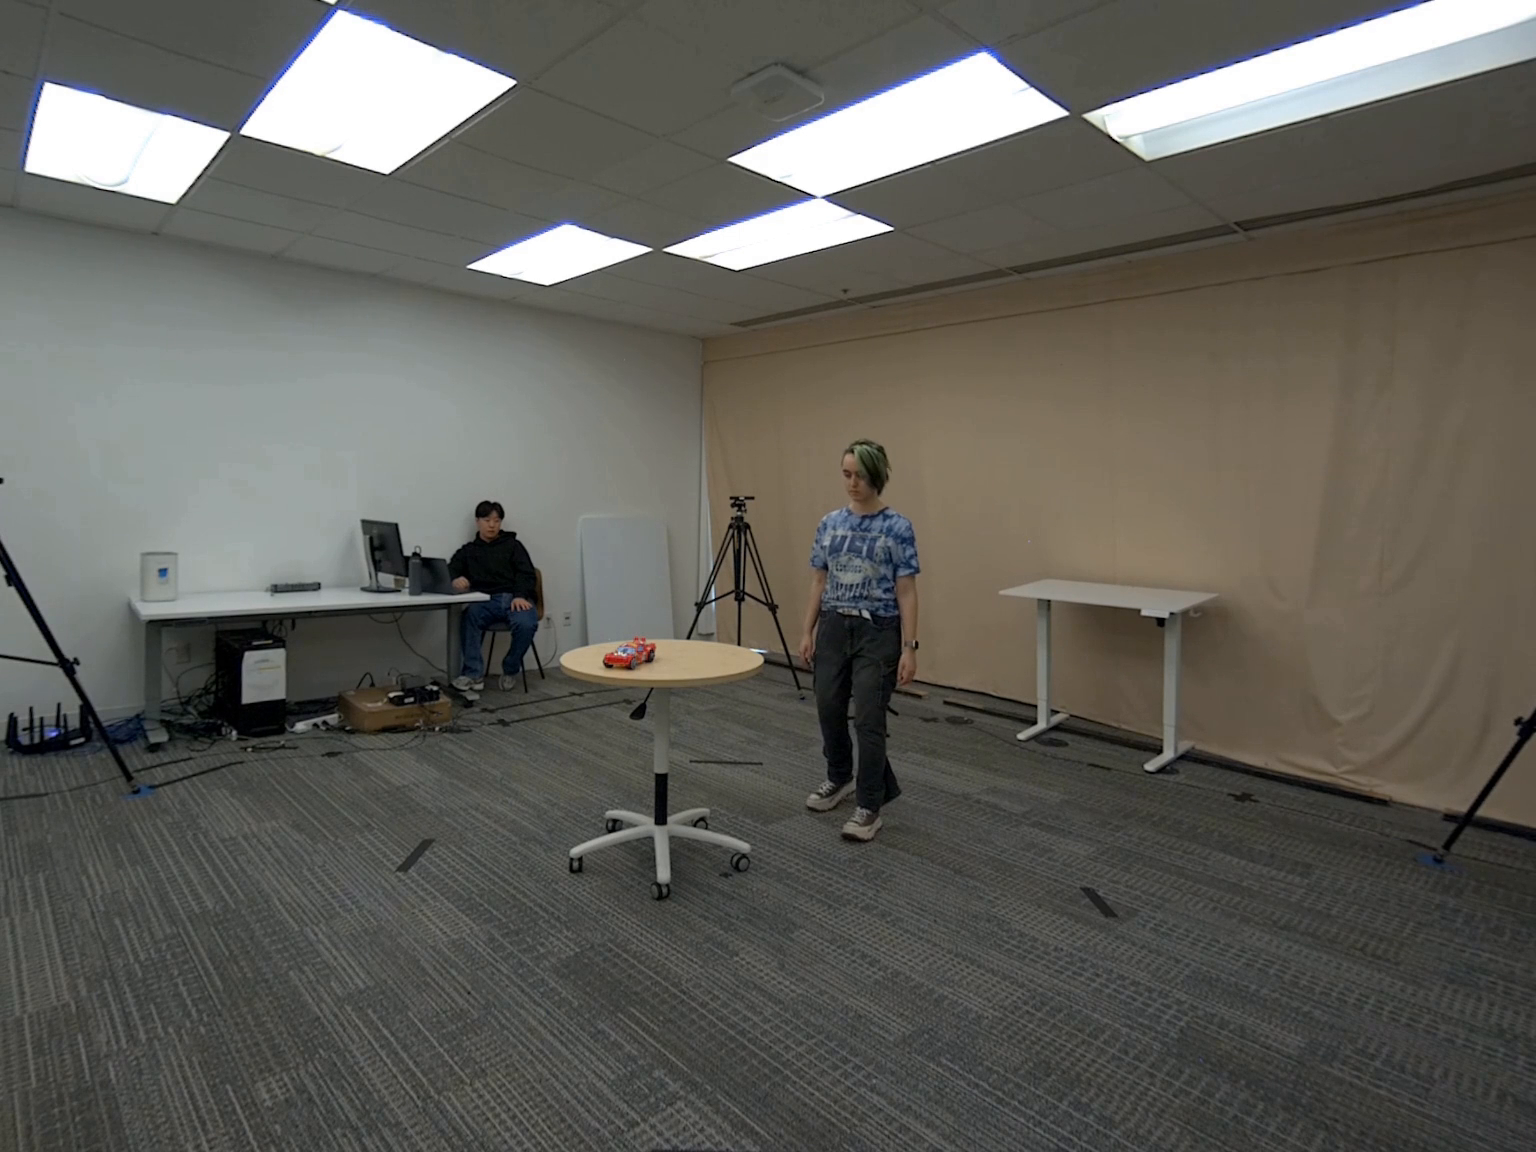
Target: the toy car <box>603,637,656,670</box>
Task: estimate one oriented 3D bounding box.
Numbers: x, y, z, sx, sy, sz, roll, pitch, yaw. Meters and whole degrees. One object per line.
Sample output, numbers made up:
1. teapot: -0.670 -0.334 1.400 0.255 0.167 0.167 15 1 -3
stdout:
1. toy car: -0.505 0.288 3.054 0.132 0.082 0.254 3 17 18
